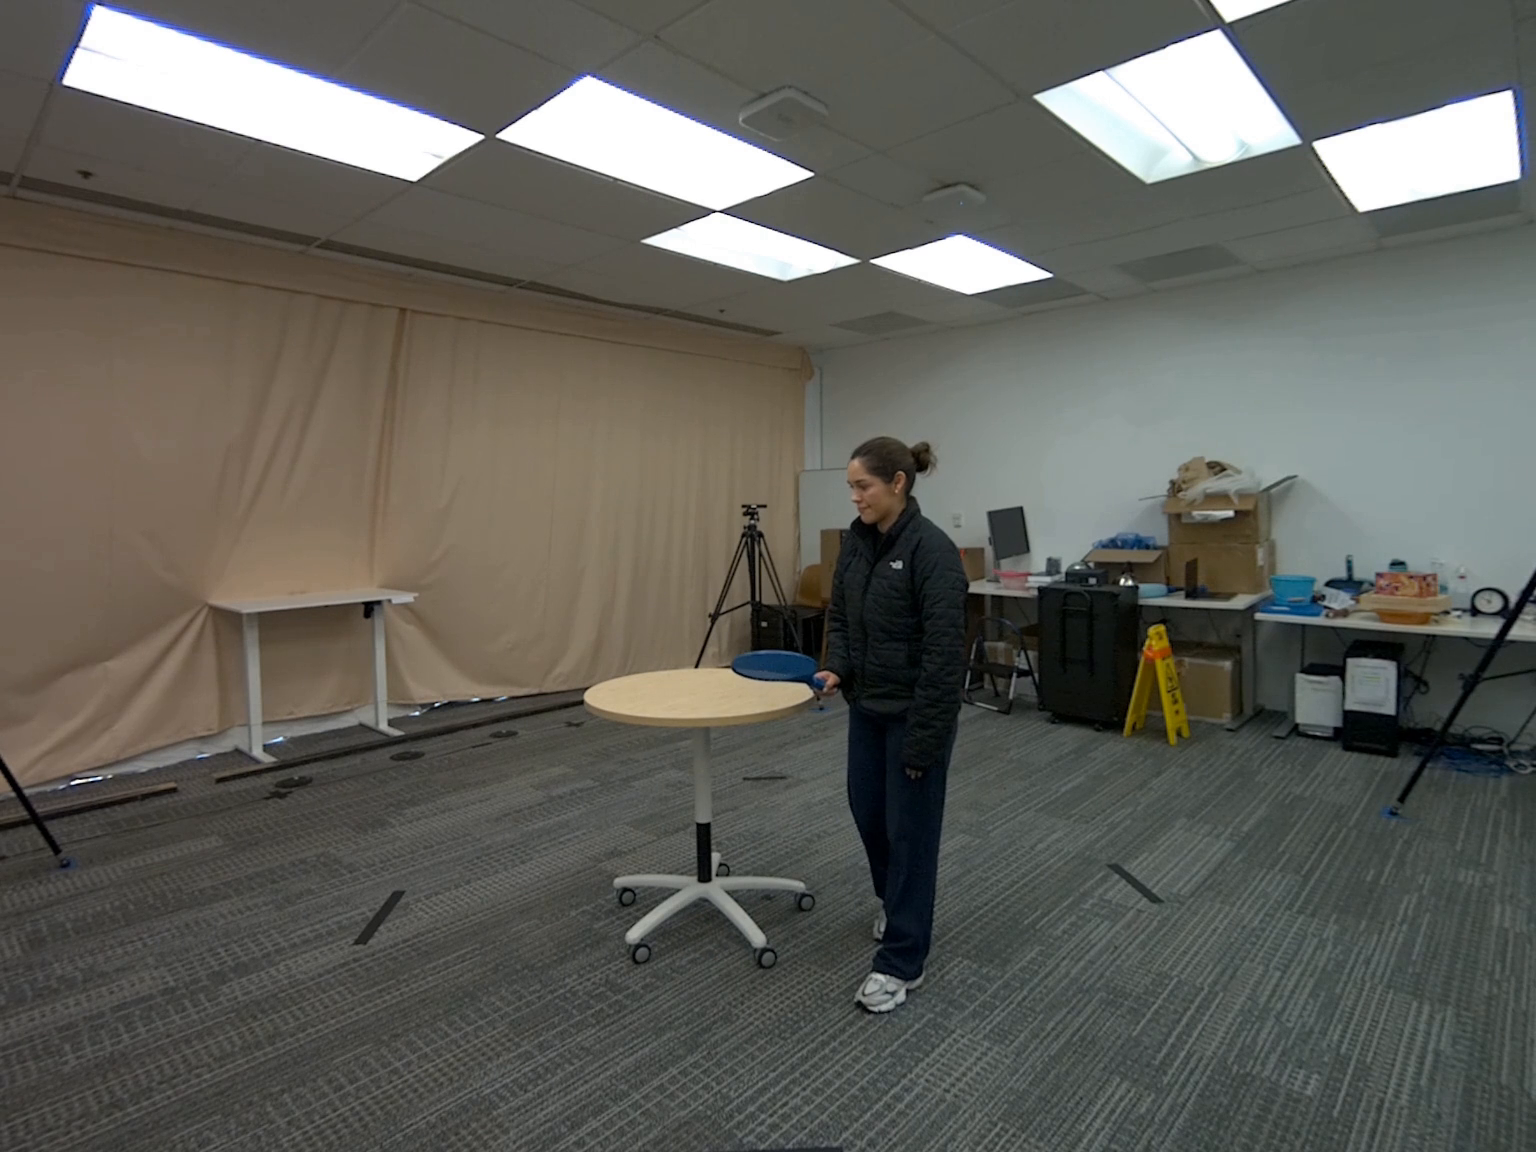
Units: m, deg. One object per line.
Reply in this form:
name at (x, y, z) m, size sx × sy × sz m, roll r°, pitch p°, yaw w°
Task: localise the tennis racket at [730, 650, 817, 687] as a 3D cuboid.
tennis racket at (0.092, 0.269, 2.297) m, size 0.218 × 0.032 × 0.417 m, roll -20°, pitch -29°, yaw 32°
